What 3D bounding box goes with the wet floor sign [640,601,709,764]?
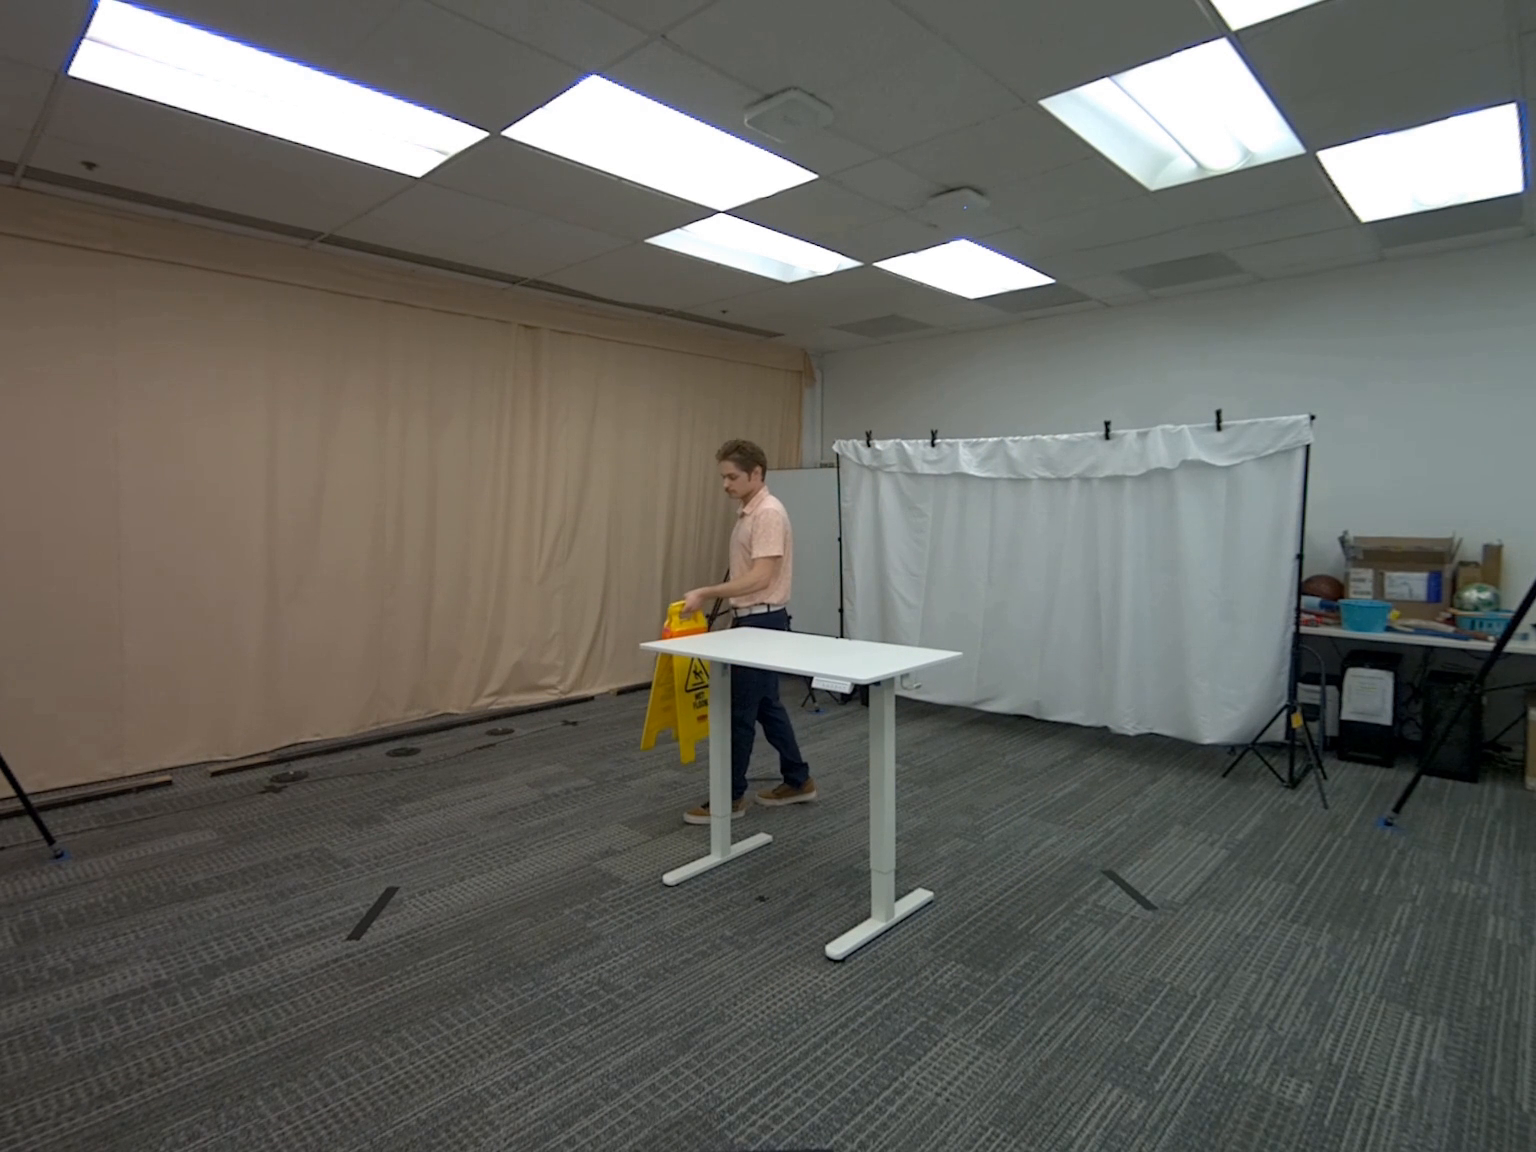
[{"bbox_3d":[-0.363,0.429,3.619,0.299,0.644,0.274,5,5,38],"label":"wet floor sign"}]
